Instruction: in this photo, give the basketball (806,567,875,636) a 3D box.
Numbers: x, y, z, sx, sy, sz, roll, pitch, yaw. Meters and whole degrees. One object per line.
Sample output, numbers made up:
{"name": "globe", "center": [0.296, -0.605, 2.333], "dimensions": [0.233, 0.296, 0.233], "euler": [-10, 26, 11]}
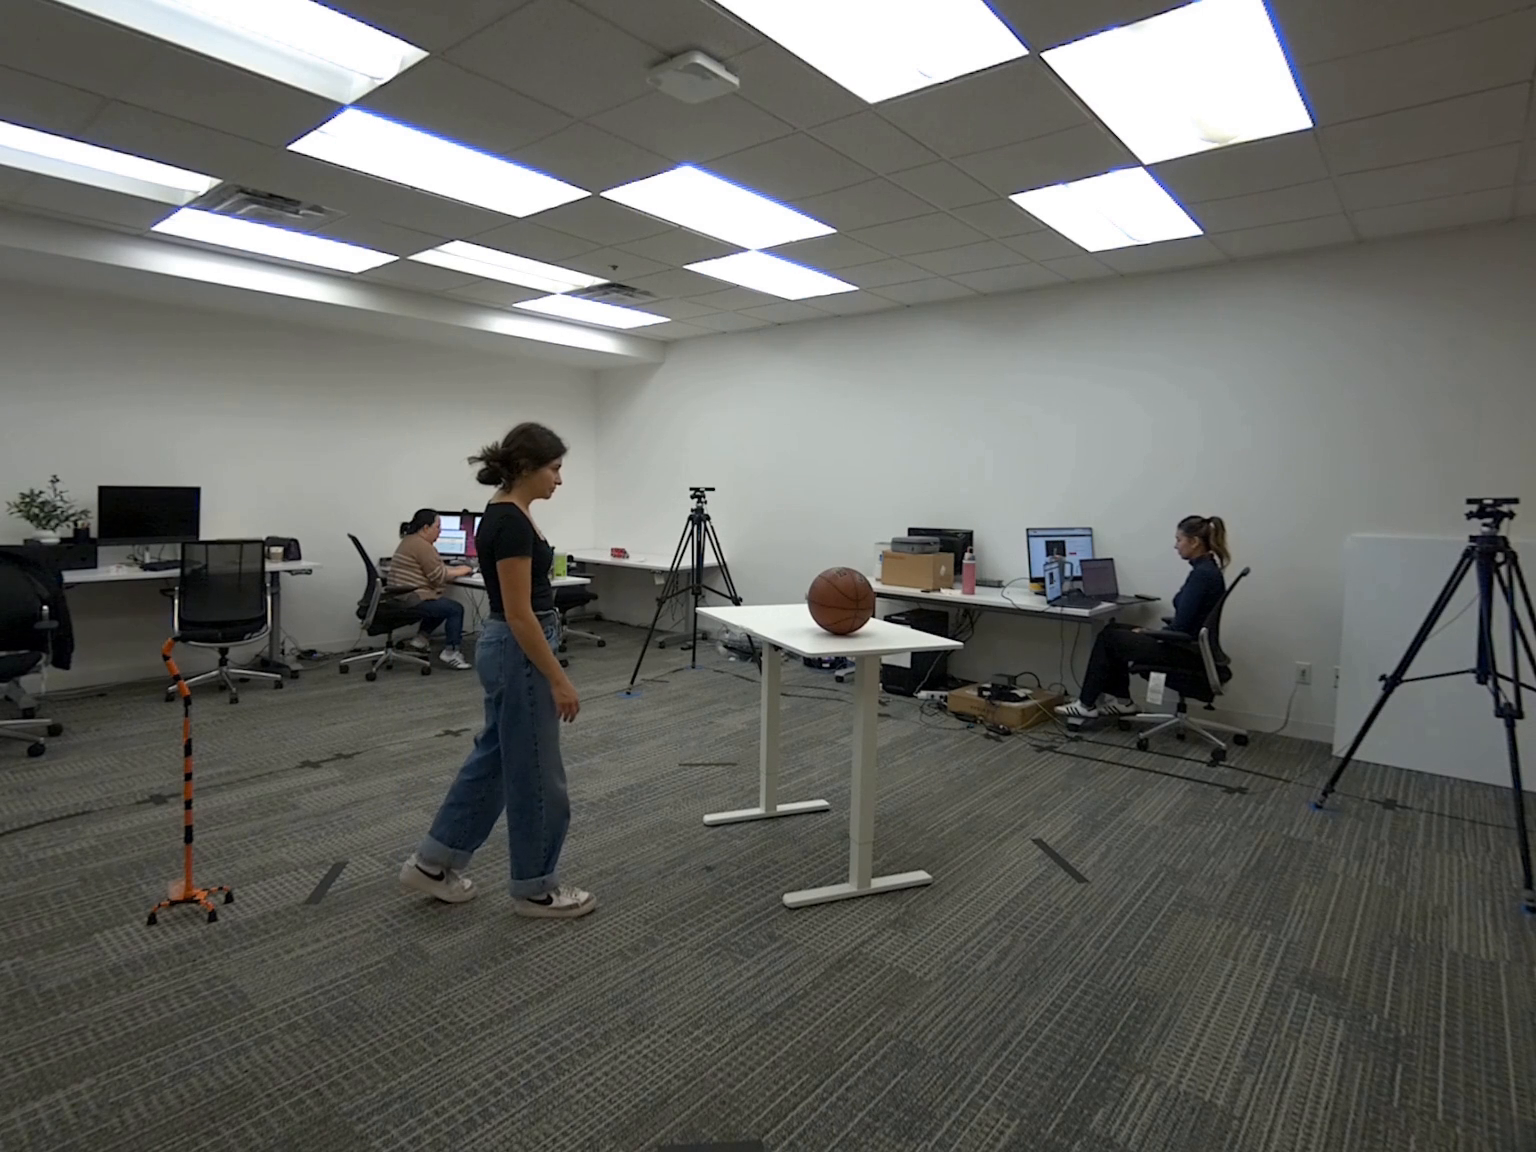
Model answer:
{"name": "basketball", "center": [0.249, 0.085, 3.018], "dimensions": [0.235, 0.235, 0.237], "euler": [1, 4, -2]}
